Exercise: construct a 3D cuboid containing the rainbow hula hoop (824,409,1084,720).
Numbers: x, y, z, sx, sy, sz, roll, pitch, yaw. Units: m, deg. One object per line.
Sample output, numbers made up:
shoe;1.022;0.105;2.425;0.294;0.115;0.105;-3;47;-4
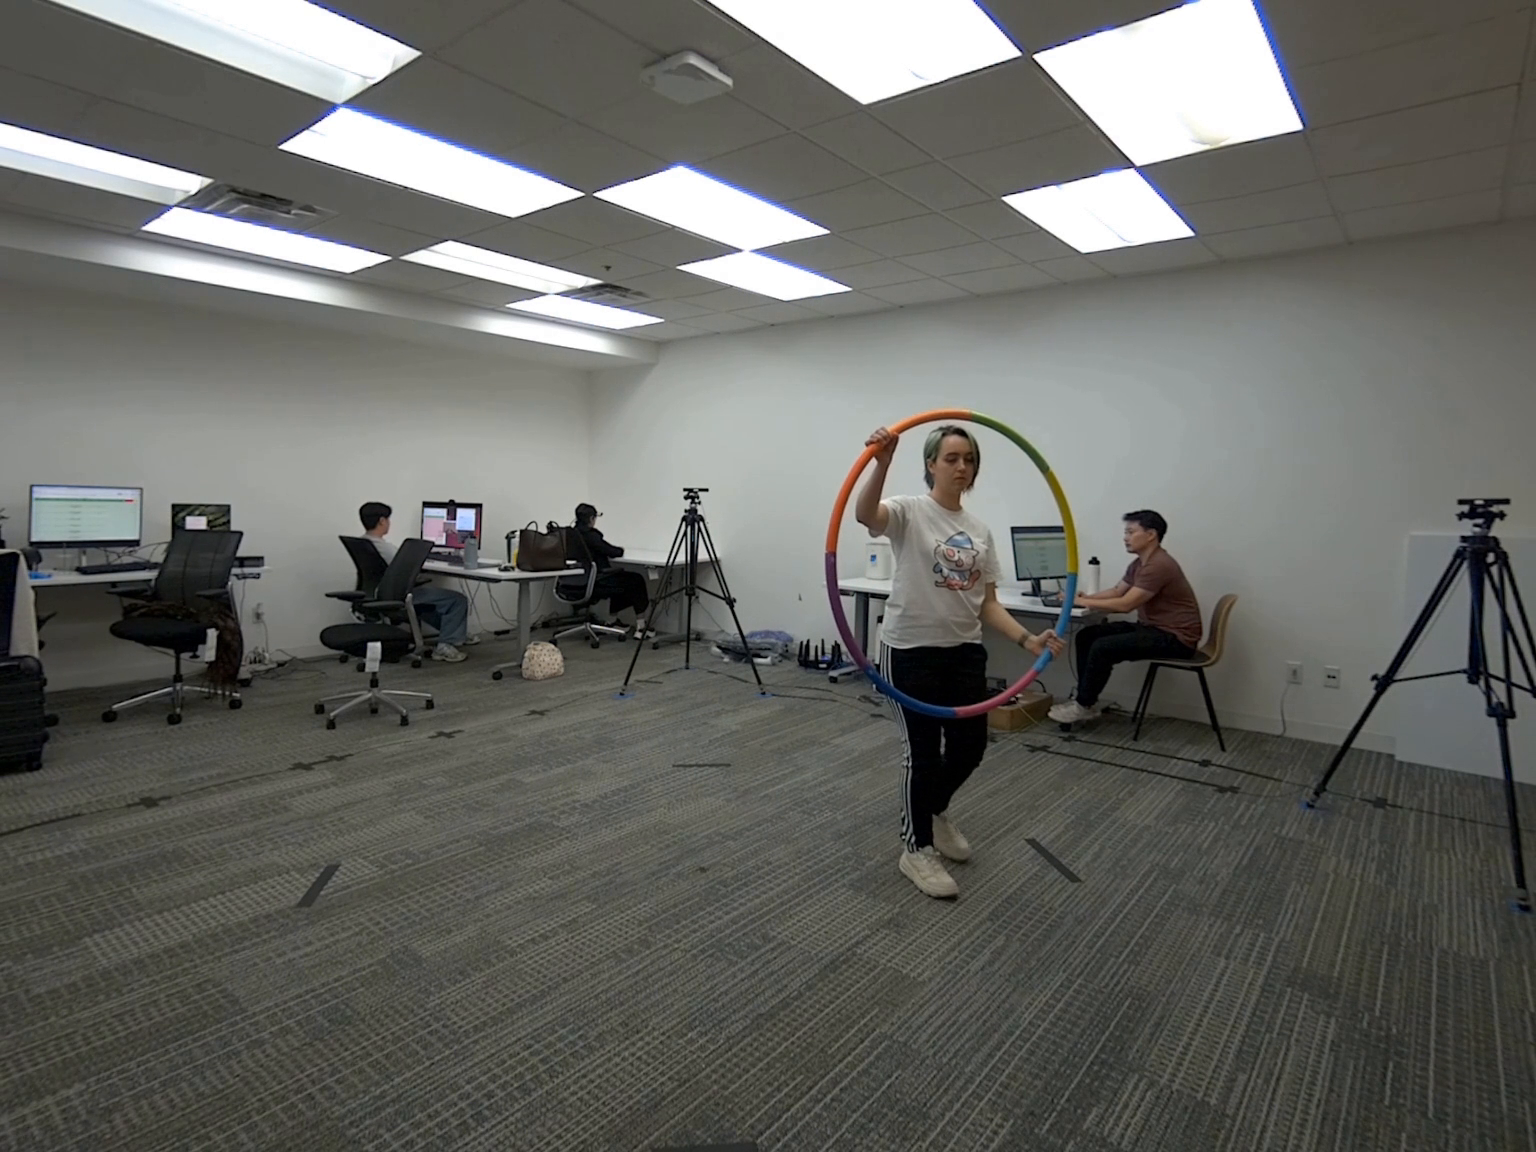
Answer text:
rainbow hula hoop;0.607;-0.041;2.719;0.956;0.979;0.036;-1;-1;-24
